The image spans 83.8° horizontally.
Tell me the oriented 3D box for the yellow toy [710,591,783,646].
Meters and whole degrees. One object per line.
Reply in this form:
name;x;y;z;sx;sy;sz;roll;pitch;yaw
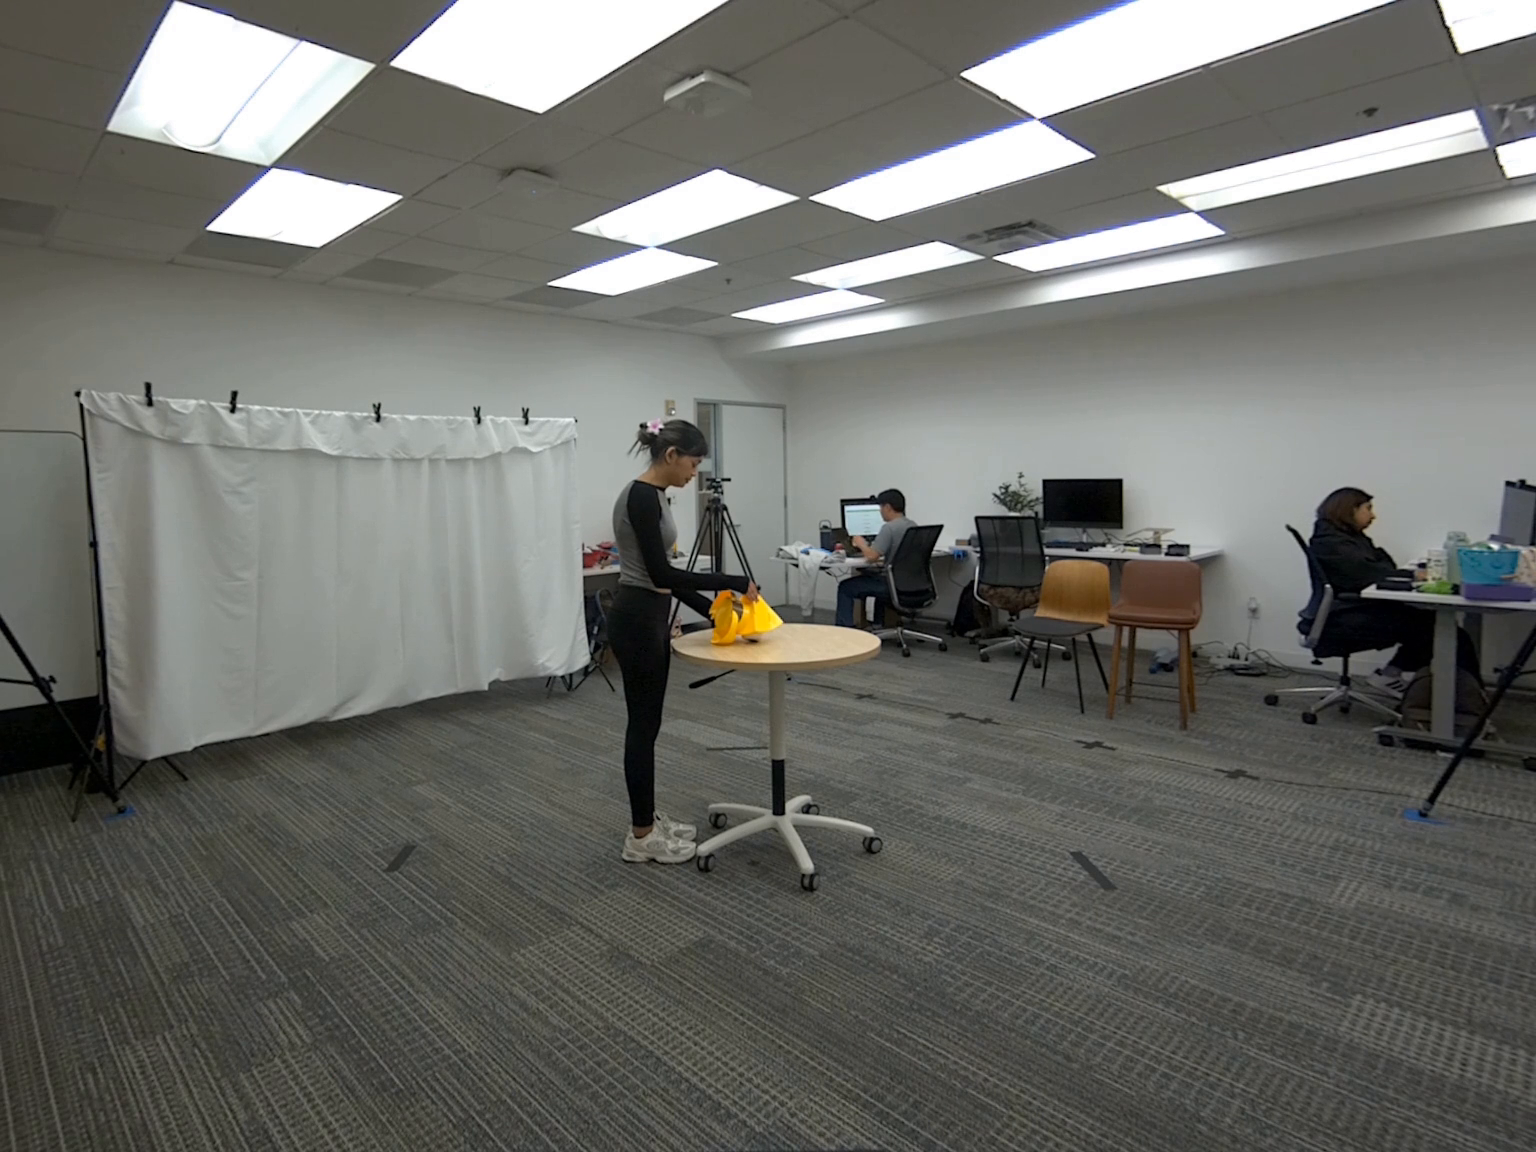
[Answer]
yellow toy;-0.075;0.175;3.170;0.224;0.210;0.193;19;-43;-26
